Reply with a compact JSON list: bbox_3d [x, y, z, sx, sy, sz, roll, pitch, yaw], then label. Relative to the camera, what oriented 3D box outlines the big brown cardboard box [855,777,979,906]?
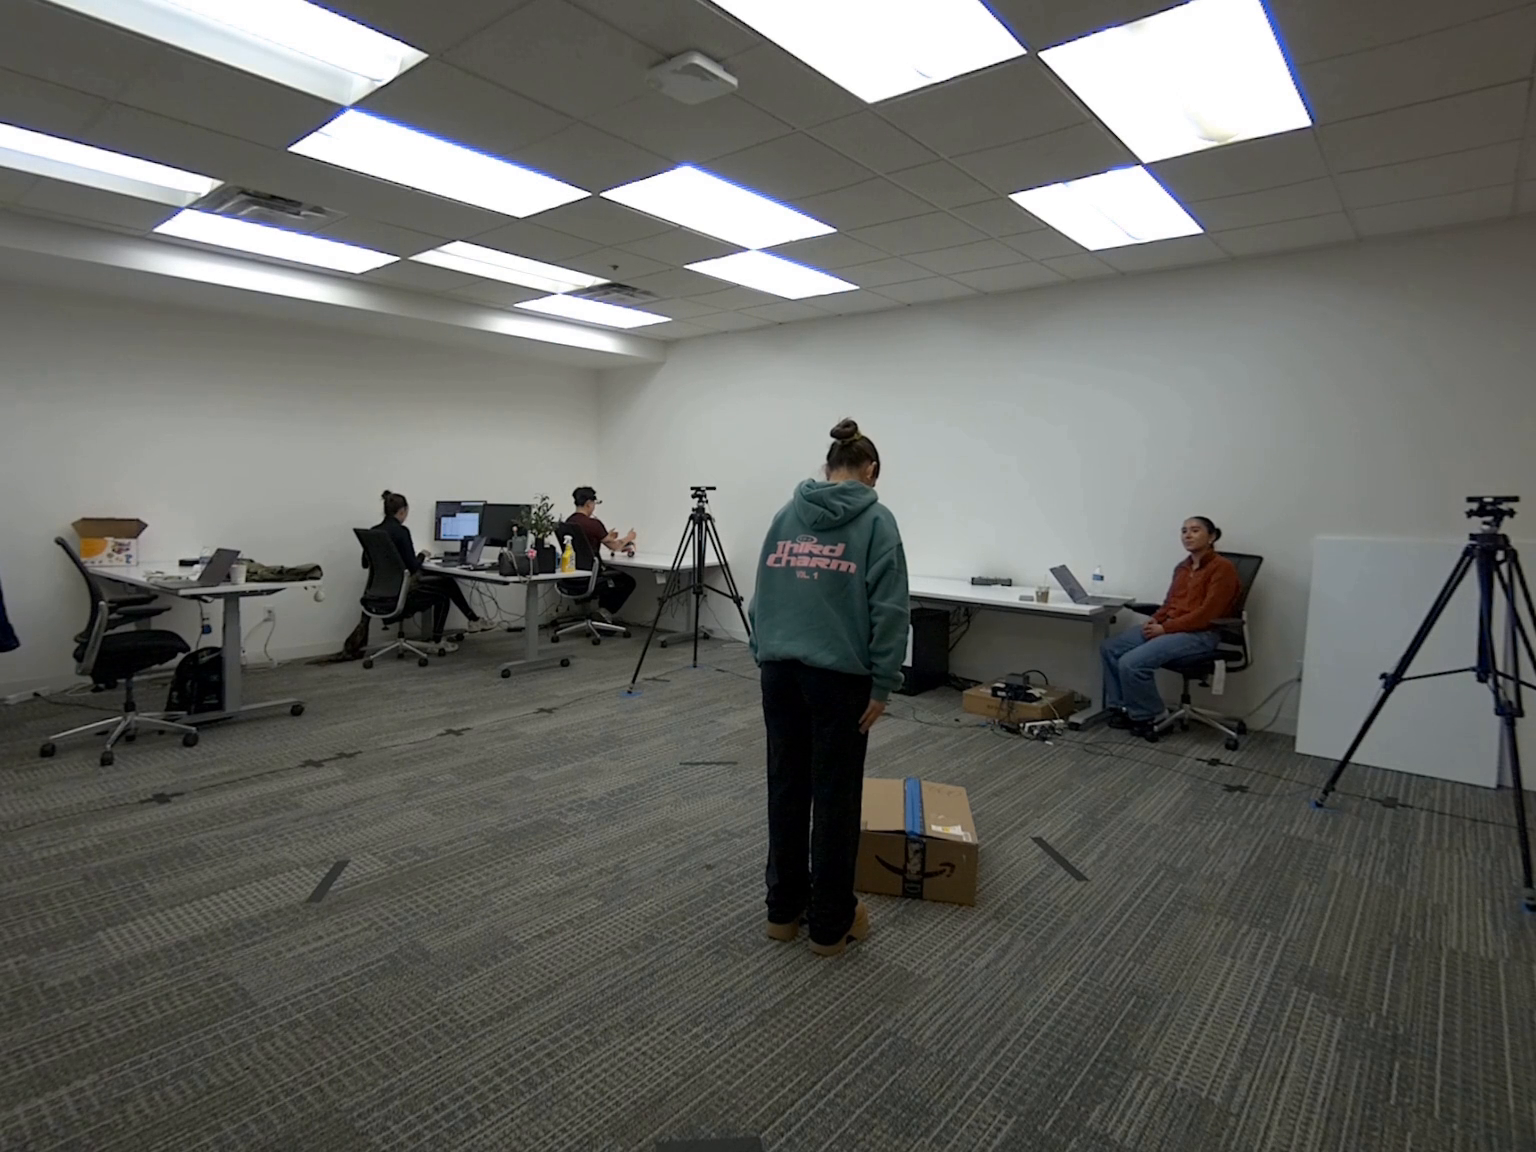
[{"bbox_3d":[0.530,0.957,3.170,0.423,0.232,0.584,2,5,10],"label":"big brown cardboard box"}]
